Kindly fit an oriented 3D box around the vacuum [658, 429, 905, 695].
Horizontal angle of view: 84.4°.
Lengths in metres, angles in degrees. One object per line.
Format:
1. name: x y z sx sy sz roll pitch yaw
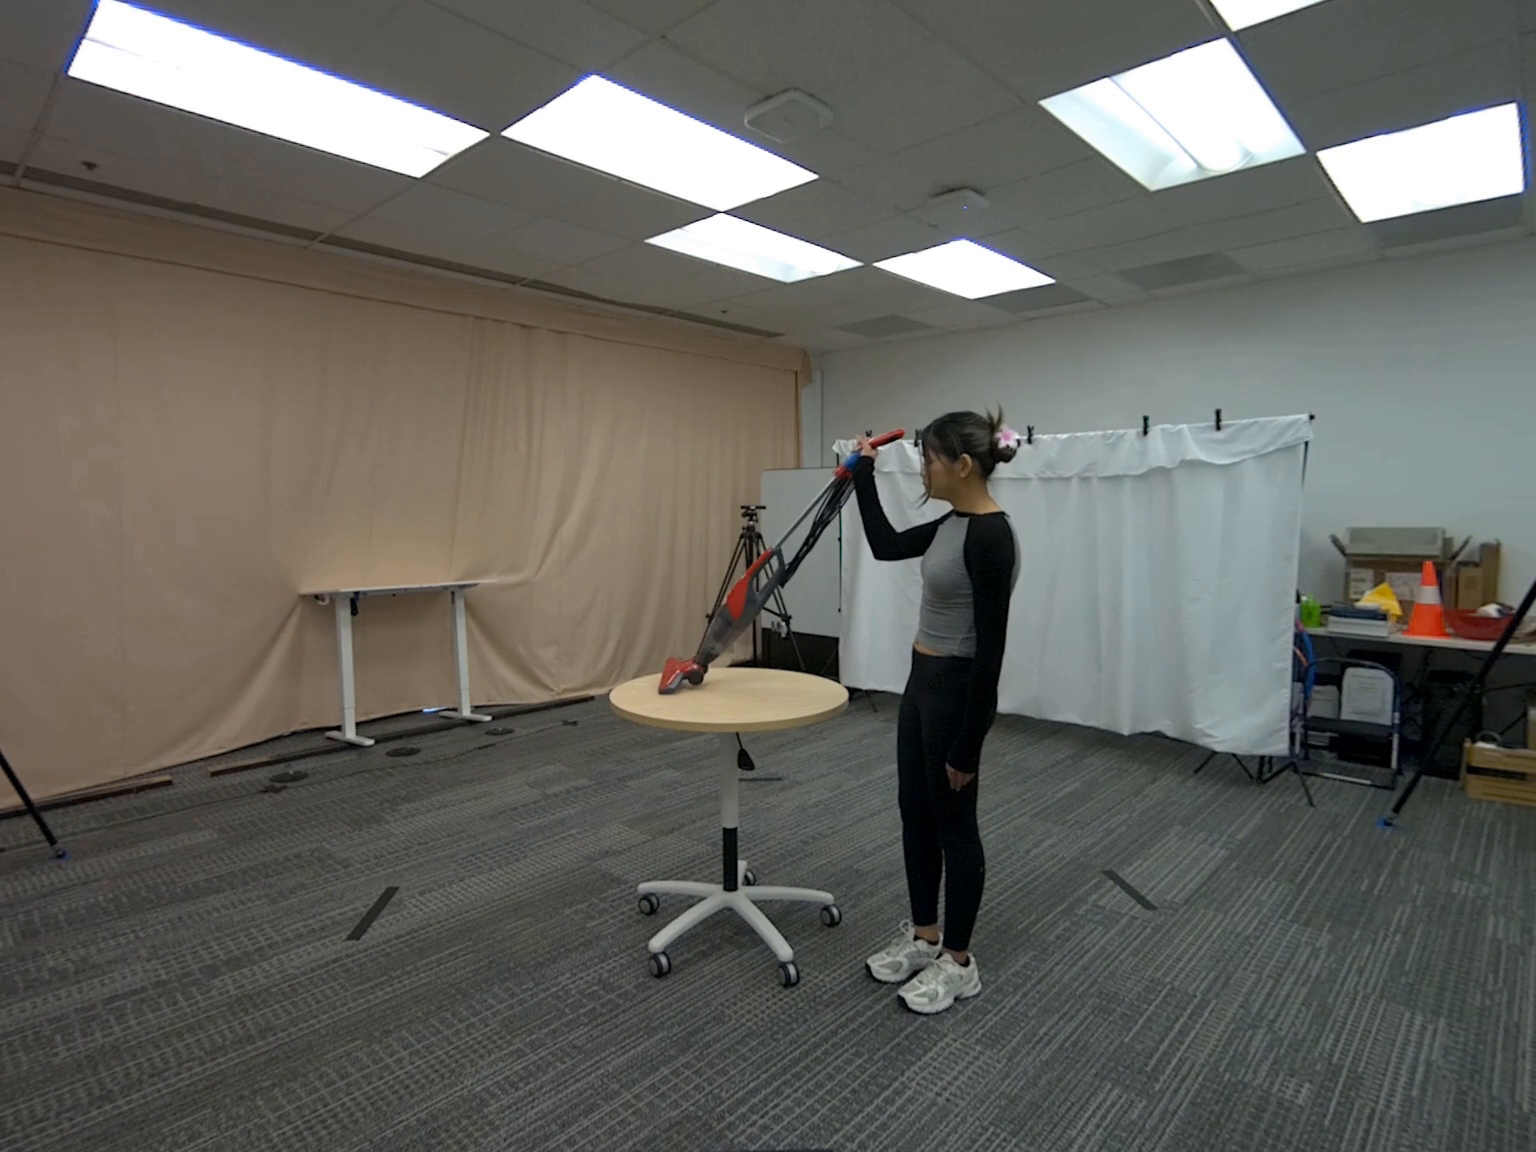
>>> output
1. vacuum: 0.044 -0.048 2.672 0.142 1.052 0.255 39 12 -12
